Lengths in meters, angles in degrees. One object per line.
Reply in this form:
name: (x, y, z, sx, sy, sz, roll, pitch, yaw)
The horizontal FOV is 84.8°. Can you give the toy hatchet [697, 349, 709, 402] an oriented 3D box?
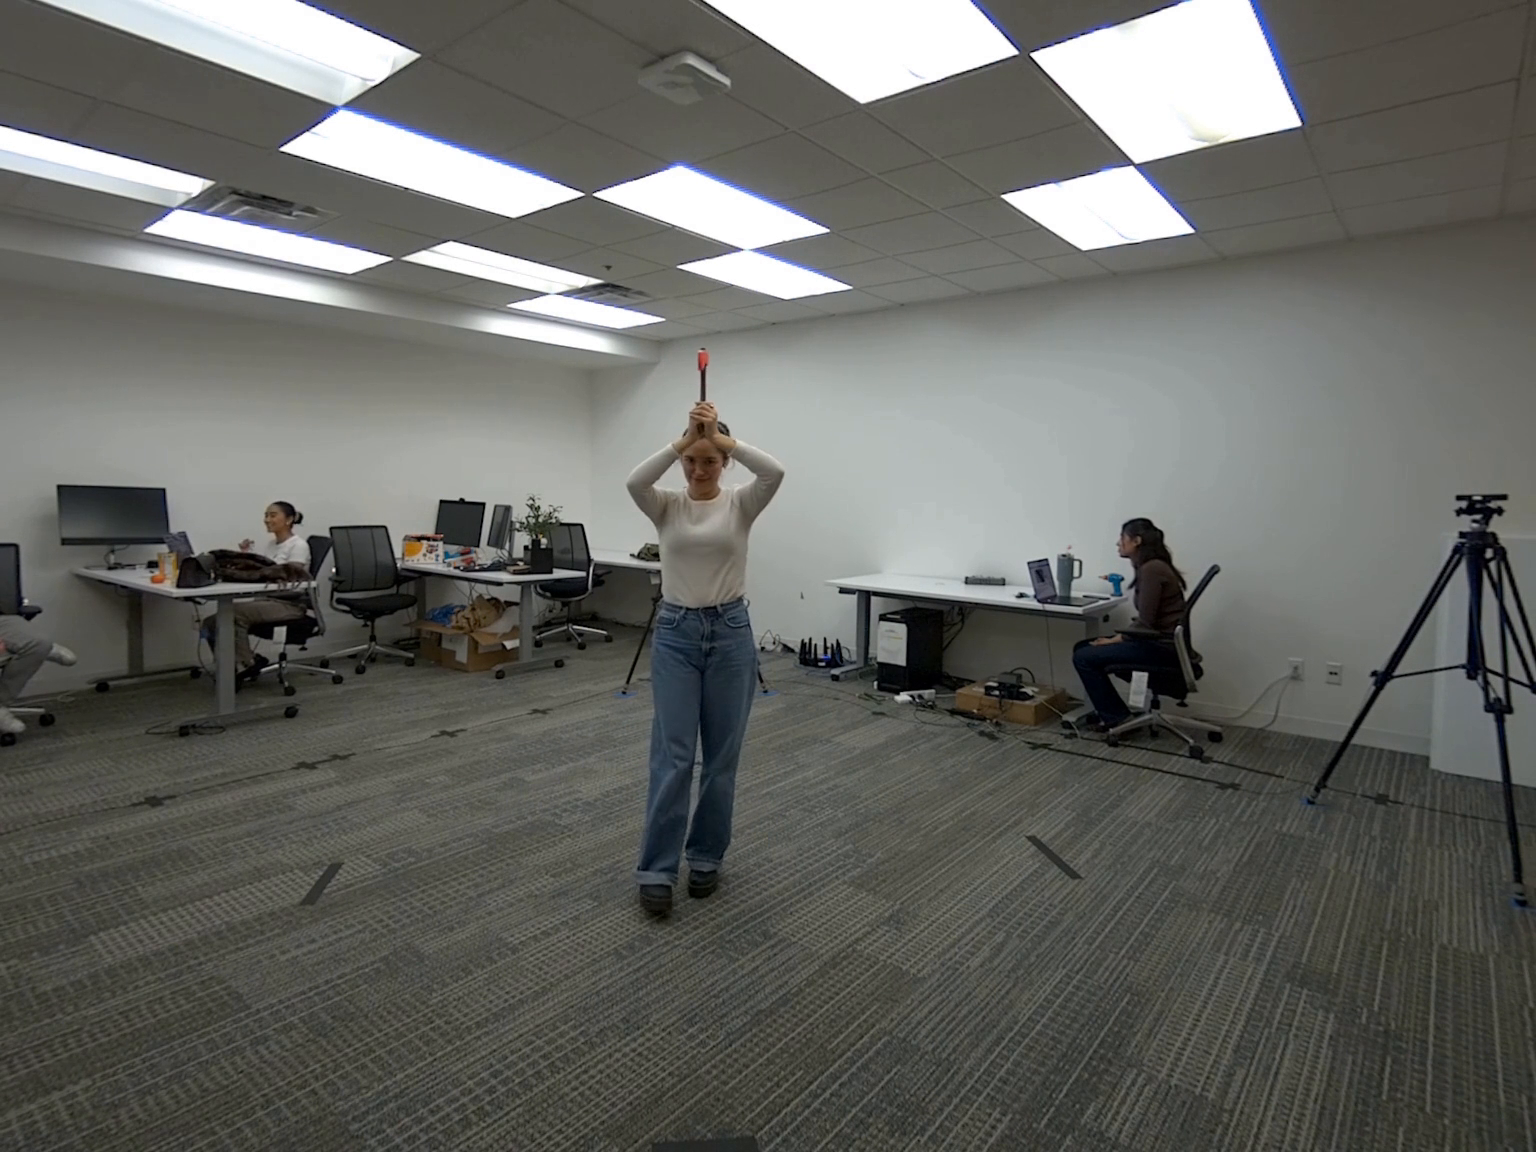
toy hatchet: (-0.222, -0.611, 2.714, 0.030, 0.274, 0.128, 0, -17, 2)
